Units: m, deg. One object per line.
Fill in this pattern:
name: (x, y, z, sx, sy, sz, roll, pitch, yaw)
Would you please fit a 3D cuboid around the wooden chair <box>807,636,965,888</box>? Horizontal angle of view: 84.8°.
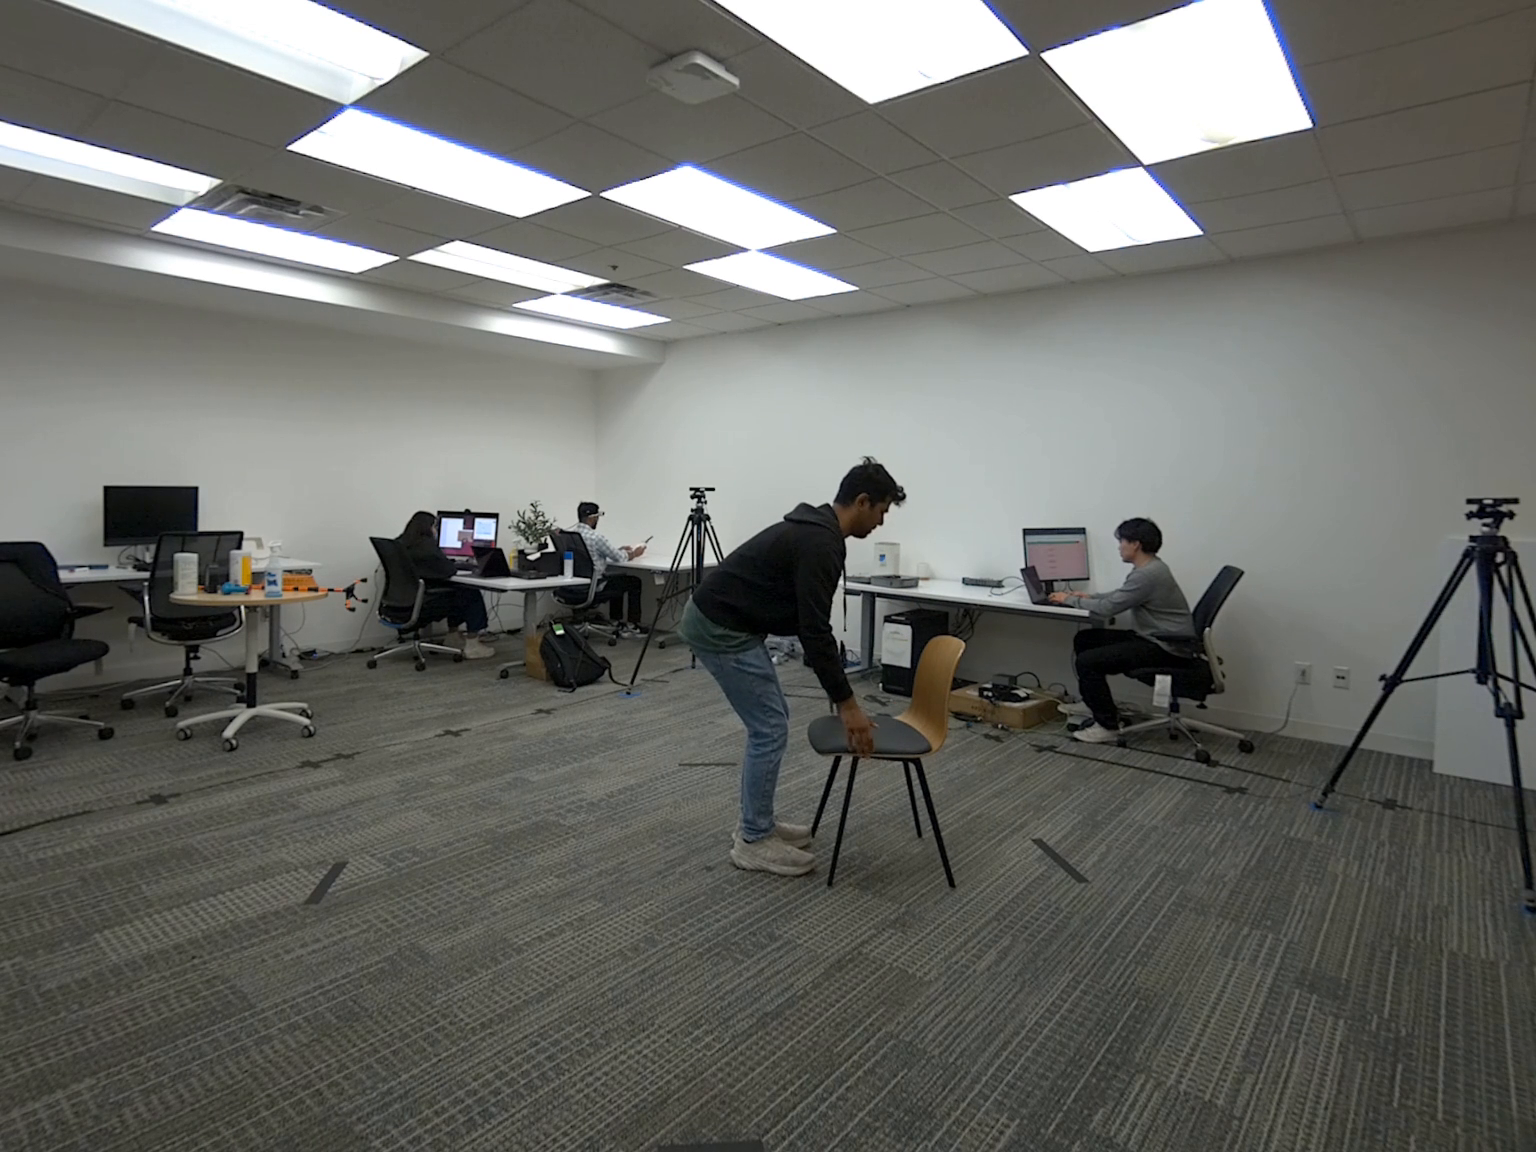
wooden chair: (0.409, 0.642, 3.181, 0.521, 0.875, 0.482, 6, 4, -4)
